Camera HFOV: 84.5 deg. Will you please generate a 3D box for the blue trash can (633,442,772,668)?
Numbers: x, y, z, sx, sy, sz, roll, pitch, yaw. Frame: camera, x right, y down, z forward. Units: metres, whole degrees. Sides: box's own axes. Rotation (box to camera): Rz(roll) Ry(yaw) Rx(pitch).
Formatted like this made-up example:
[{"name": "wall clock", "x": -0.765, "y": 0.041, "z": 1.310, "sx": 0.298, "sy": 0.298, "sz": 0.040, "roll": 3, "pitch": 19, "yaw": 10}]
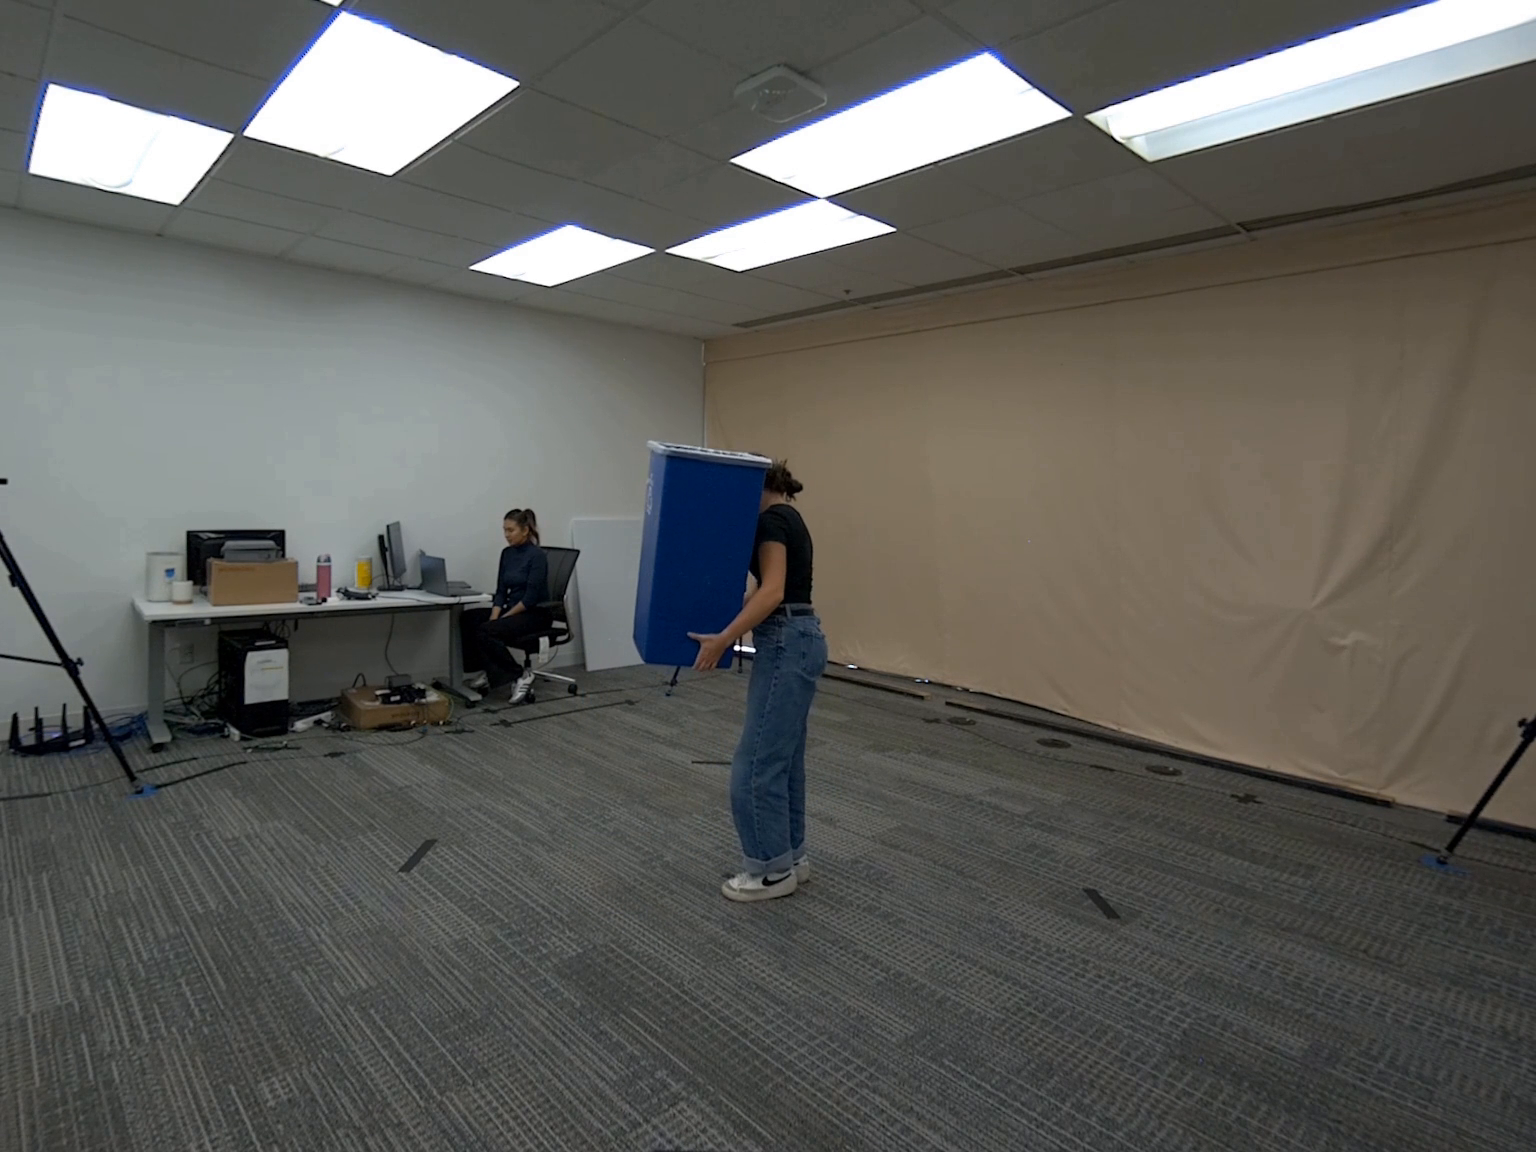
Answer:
[{"name": "blue trash can", "x": -0.256, "y": -0.078, "z": 2.877, "sx": 0.373, "sy": 0.710, "sz": 0.381, "roll": 6, "pitch": 8, "yaw": -18}]
